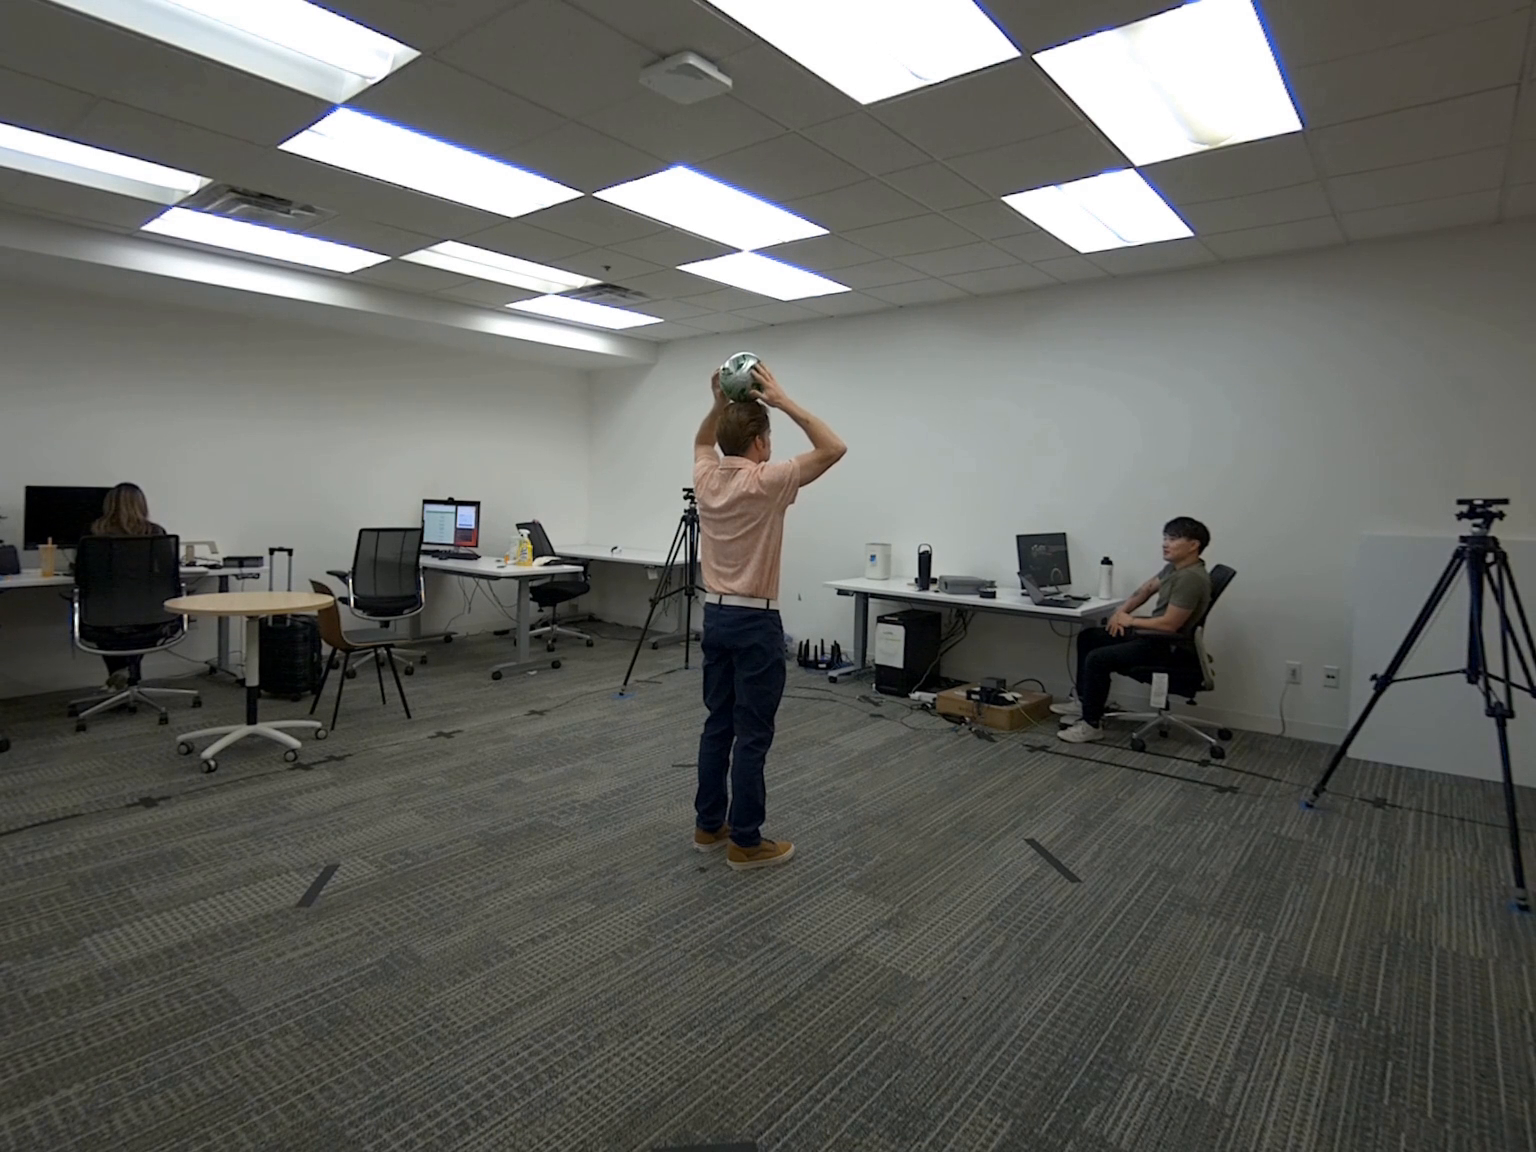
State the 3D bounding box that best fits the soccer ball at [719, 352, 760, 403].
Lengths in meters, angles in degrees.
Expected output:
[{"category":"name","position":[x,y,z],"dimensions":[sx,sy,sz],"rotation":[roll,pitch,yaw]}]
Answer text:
[{"category":"soccer ball","position":[-0.098,-0.746,3.184],"dimensions":[0.187,0.187,0.188],"rotation":[1,4,-2]}]
